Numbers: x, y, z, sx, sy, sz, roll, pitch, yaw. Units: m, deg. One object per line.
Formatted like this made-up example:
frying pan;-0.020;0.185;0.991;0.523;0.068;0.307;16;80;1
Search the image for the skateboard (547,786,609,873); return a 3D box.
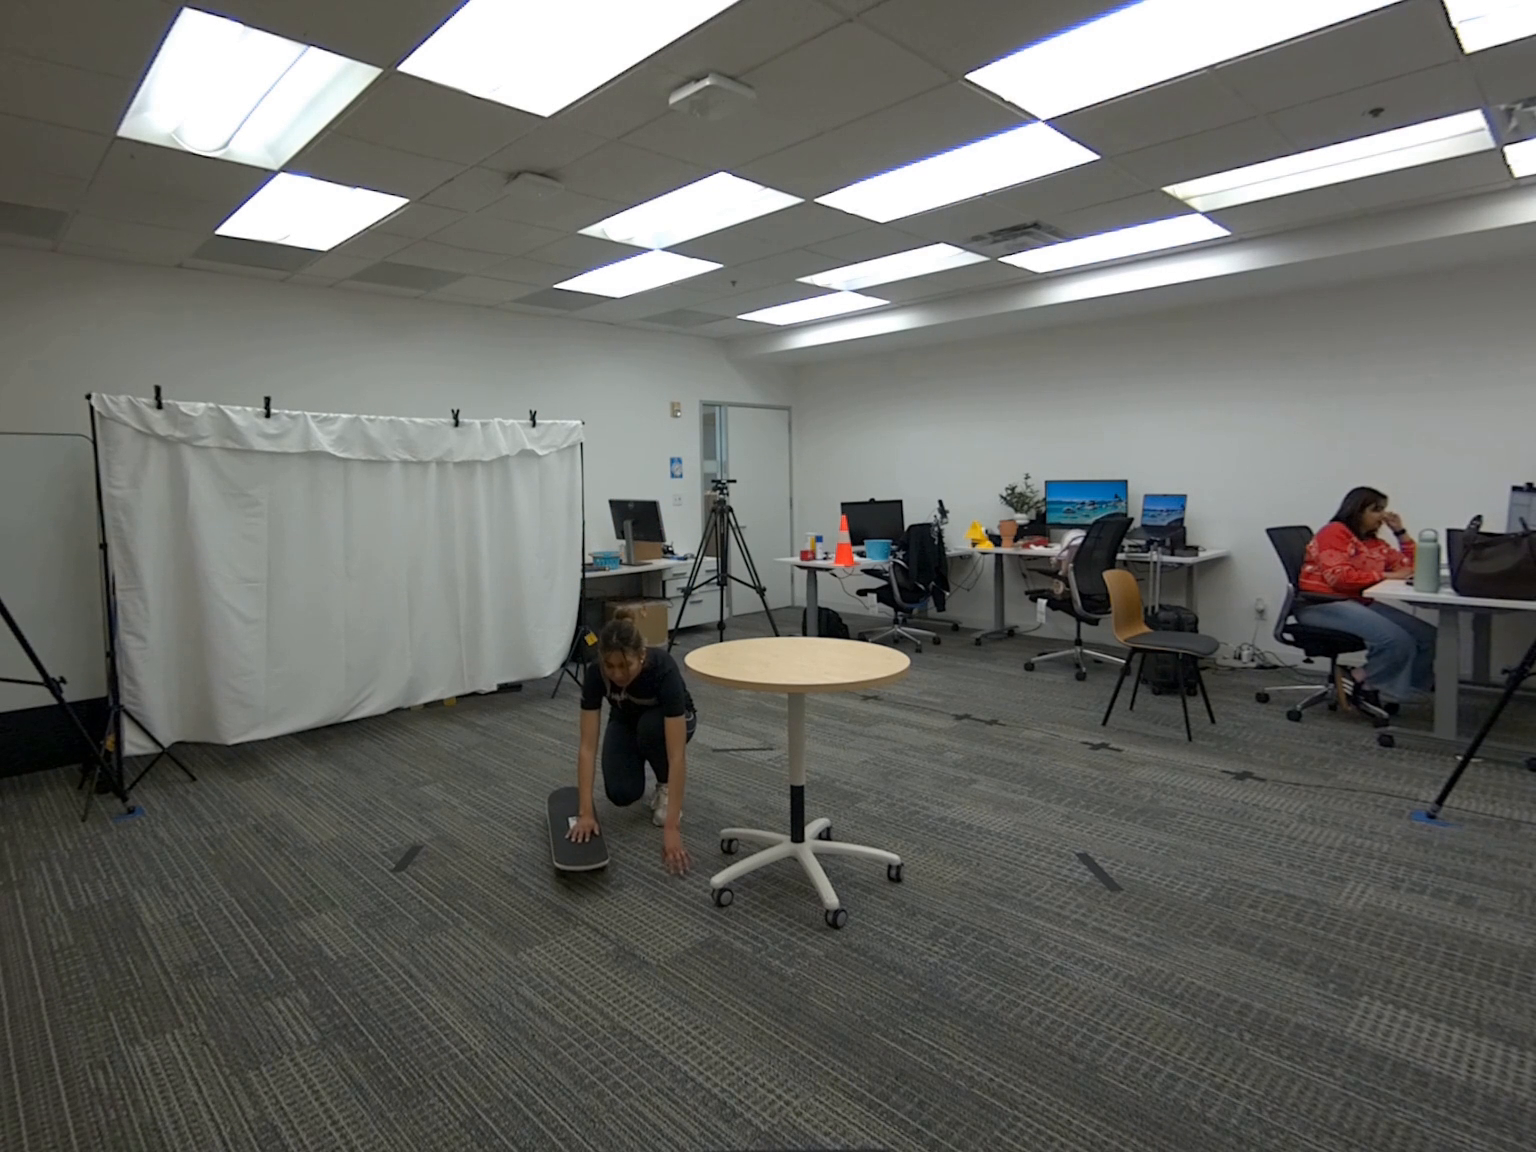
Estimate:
skateboard;-0.734;0.992;3.248;0.191;0.110;0.800;-3;6;-16
